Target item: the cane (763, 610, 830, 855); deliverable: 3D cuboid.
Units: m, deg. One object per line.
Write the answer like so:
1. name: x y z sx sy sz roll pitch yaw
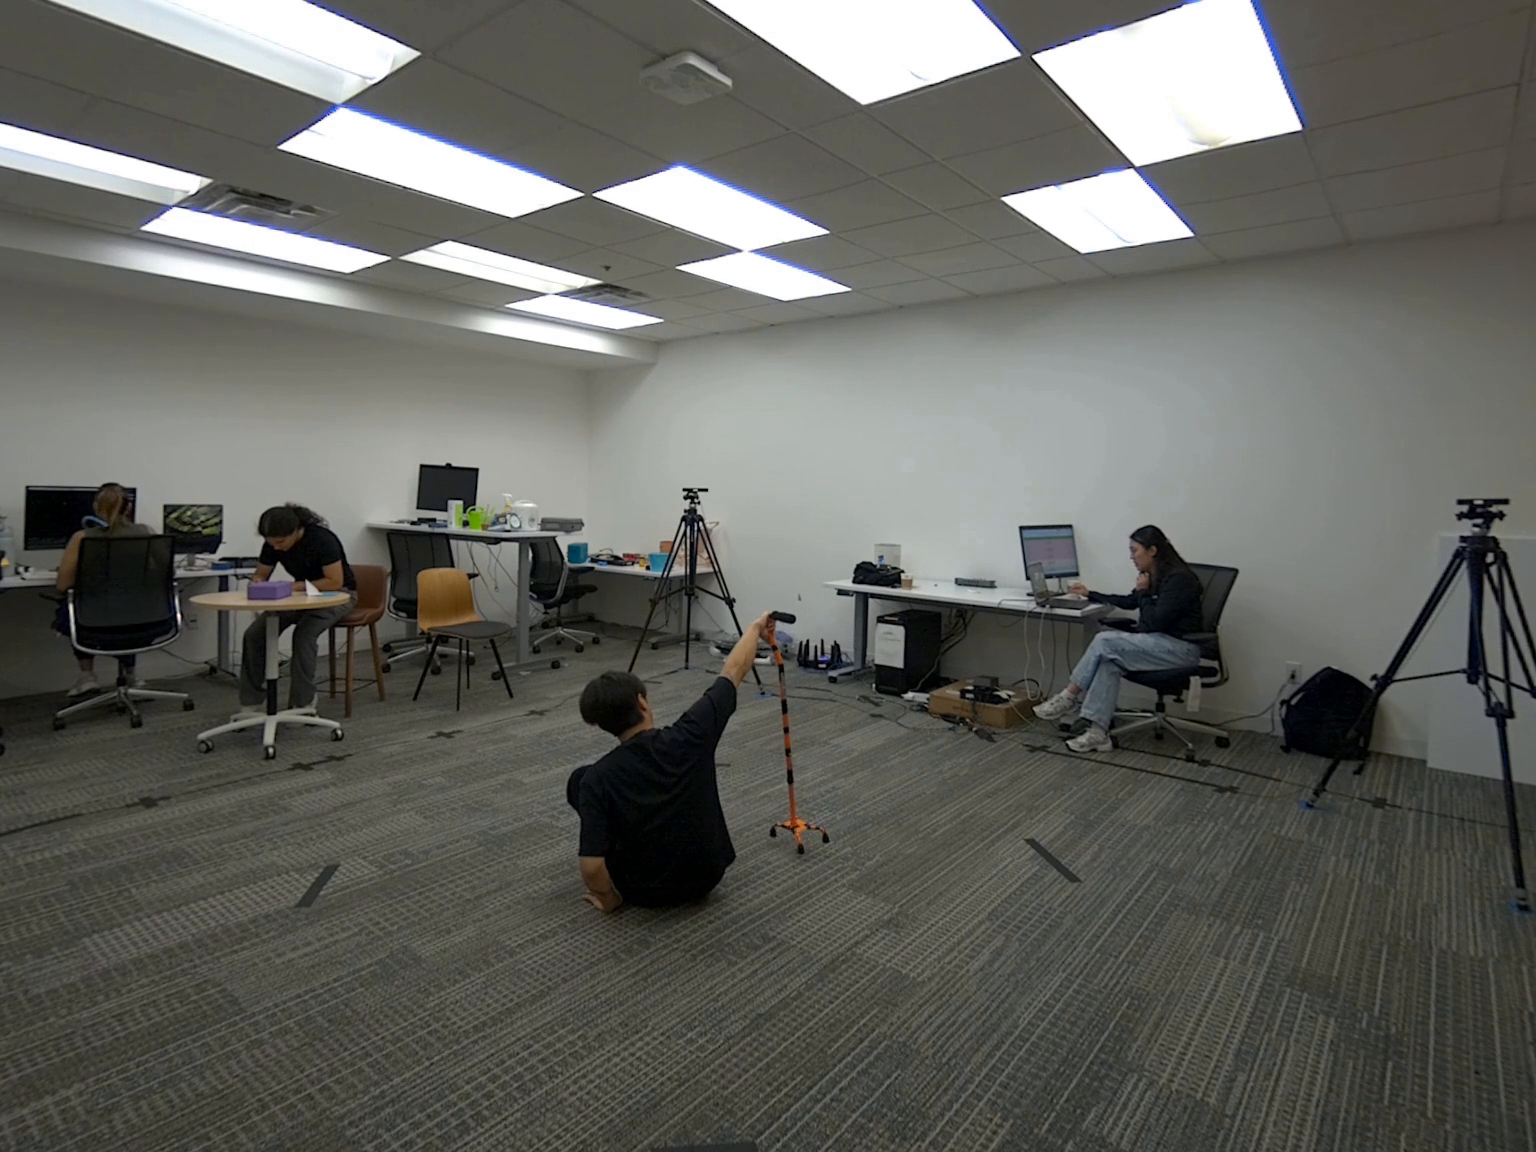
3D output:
1. cane: 0.070 0.579 3.258 0.148 0.900 0.213 -10 9 -35
